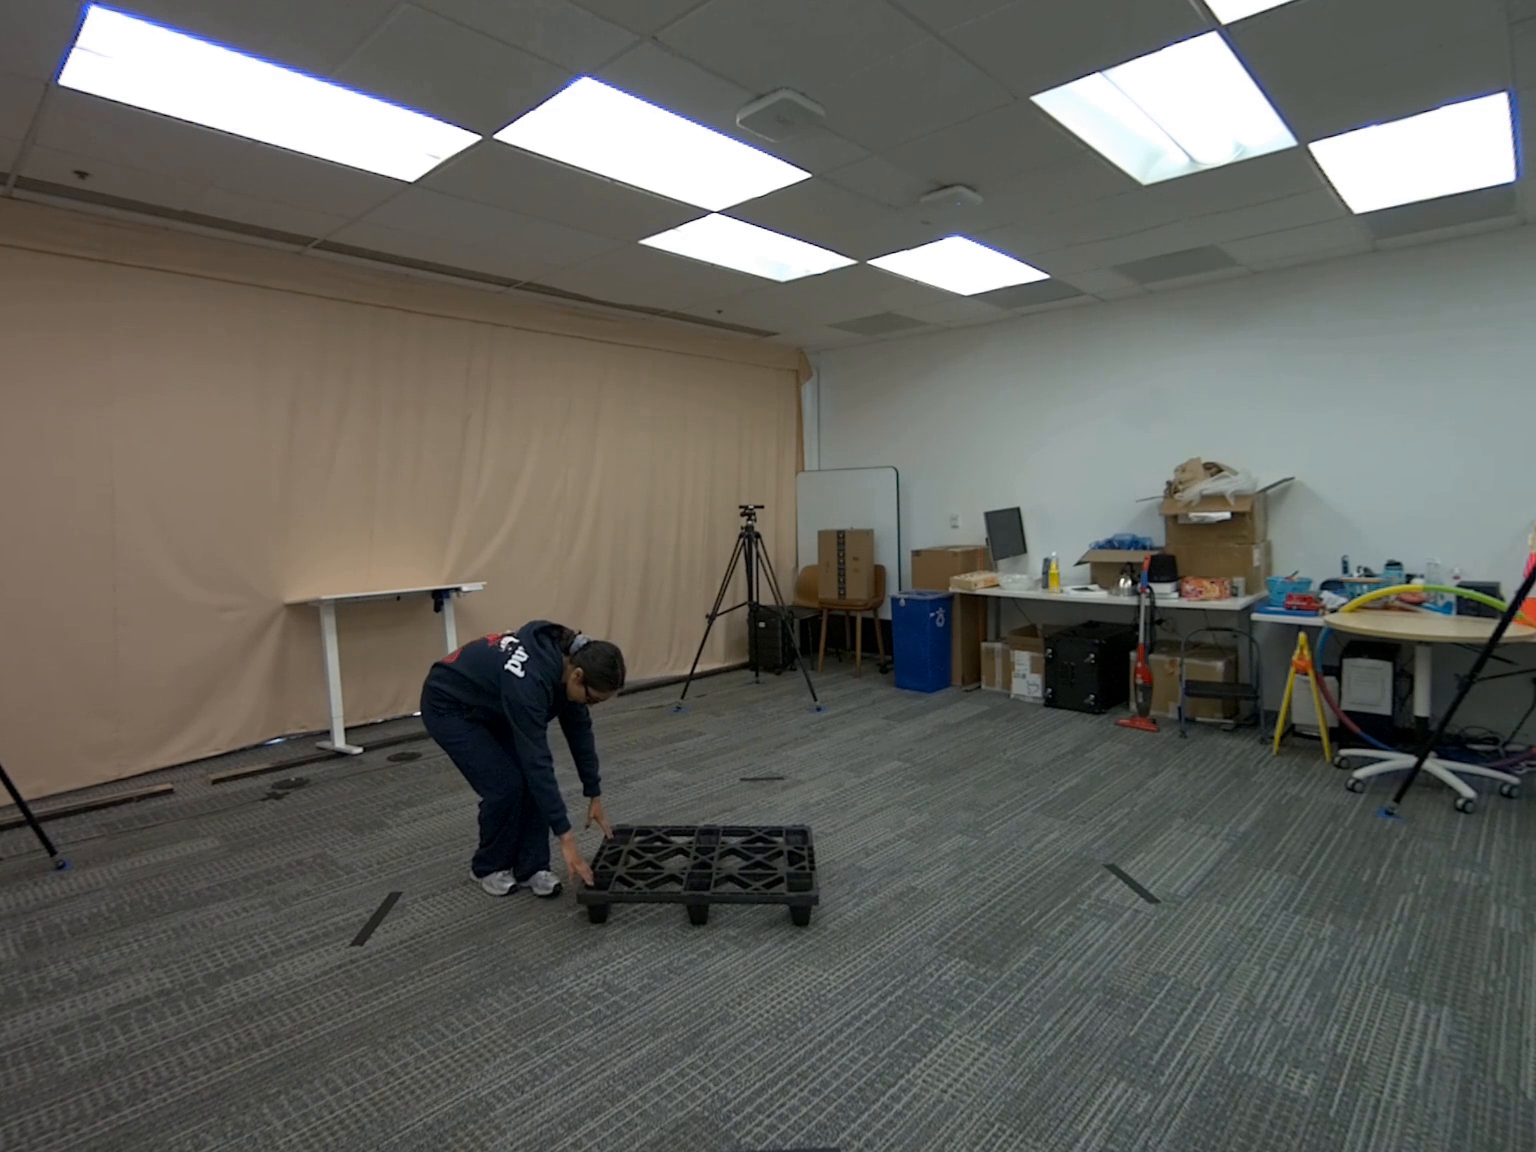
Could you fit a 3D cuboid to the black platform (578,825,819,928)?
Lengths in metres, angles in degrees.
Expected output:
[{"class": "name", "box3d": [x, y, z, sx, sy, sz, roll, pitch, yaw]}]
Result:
[{"class": "black platform", "box3d": [-0.230, 1.074, 3.029, 0.809, 0.143, 0.604, -1, 4, 3]}]
